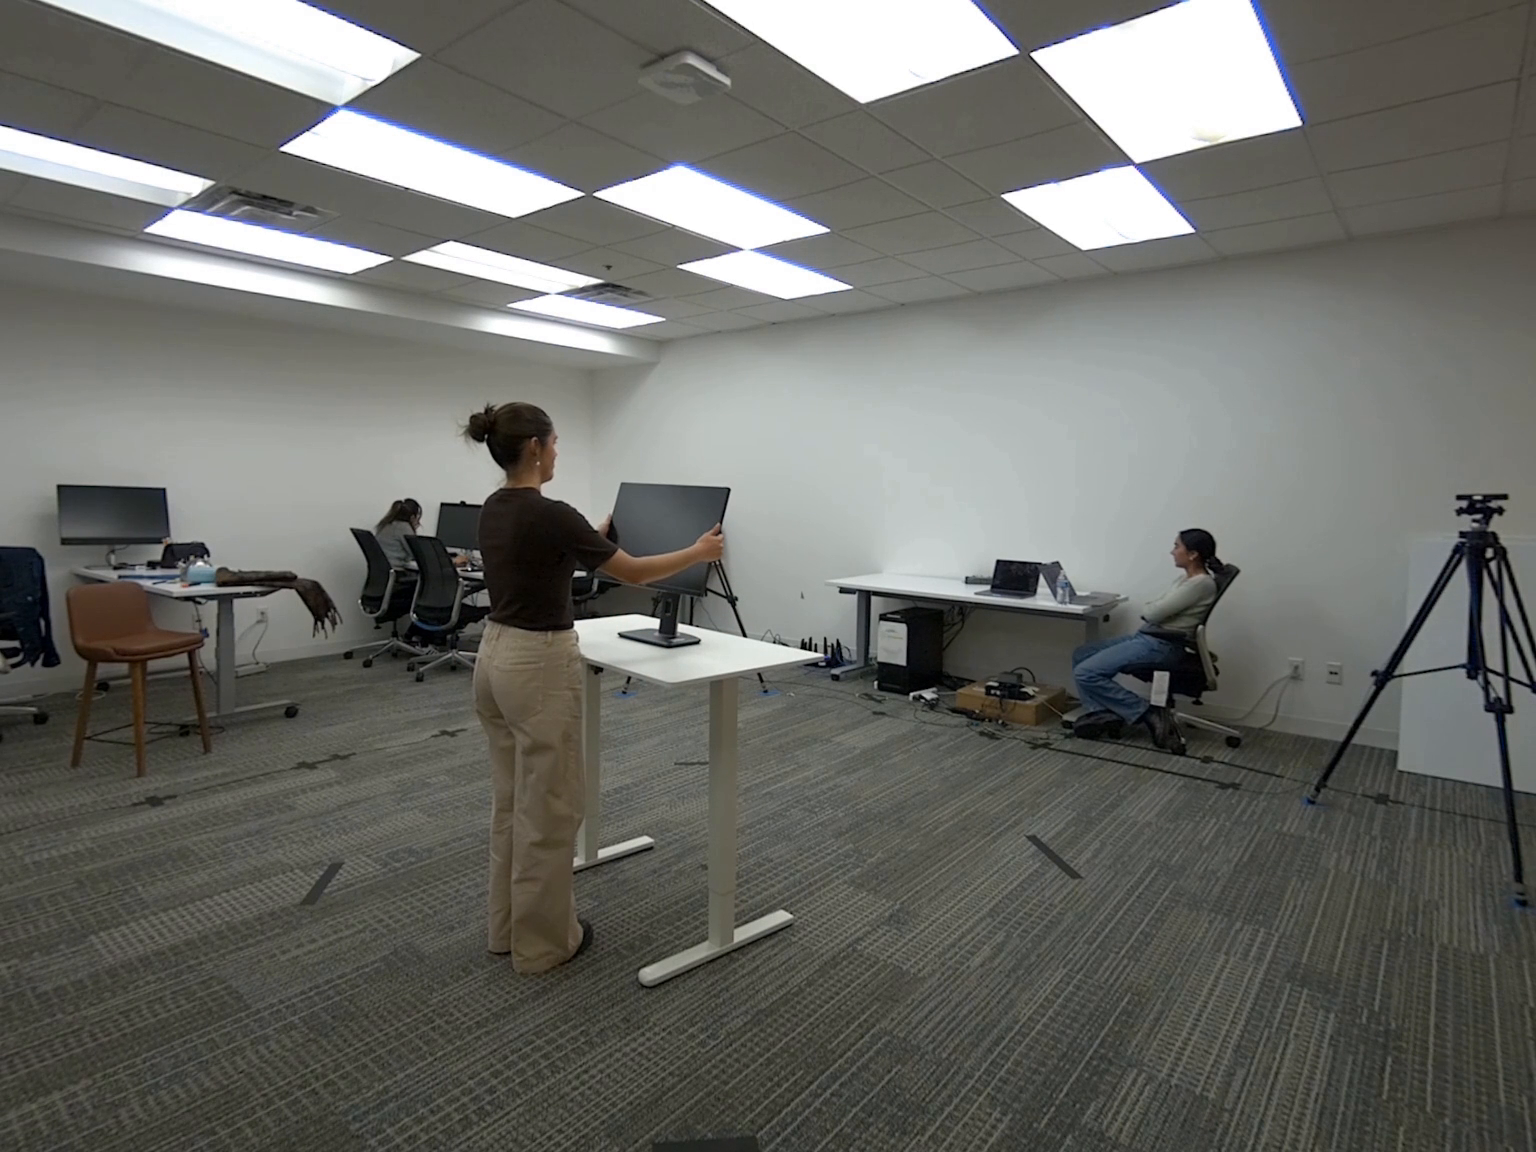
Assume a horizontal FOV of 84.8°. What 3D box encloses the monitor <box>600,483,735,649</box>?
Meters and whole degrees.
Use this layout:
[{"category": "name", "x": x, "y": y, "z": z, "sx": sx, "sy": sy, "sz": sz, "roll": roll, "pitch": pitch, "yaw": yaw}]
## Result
[{"category": "monitor", "x": -0.354, "y": -0.043, "z": 2.818, "sx": 0.558, "sy": 0.522, "sz": 0.181, "roll": 6, "pitch": 2, "yaw": 40}]
